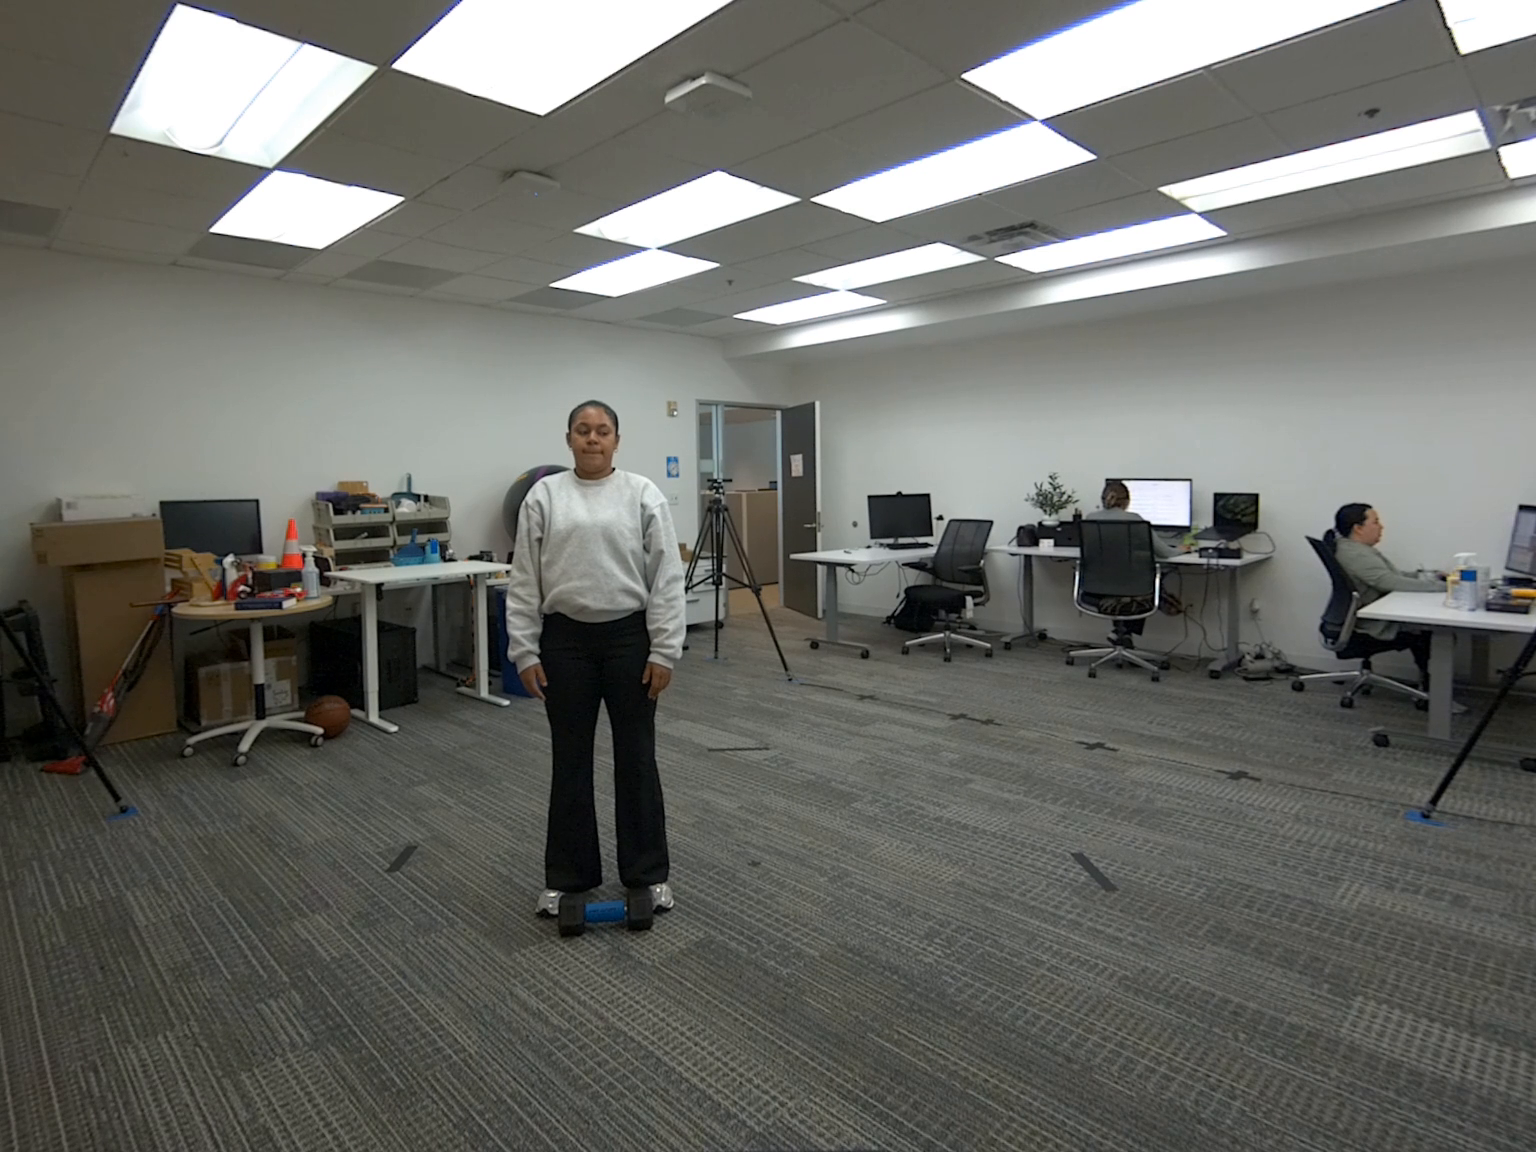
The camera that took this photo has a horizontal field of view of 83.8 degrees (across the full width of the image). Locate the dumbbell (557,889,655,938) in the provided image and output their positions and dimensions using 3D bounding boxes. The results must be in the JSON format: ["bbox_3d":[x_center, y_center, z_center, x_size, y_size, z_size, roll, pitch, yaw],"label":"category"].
[{"bbox_3d":[-0.511,1.057,2.676,0.291,0.126,0.107,-2,-26,-8],"label":"dumbbell"}]
